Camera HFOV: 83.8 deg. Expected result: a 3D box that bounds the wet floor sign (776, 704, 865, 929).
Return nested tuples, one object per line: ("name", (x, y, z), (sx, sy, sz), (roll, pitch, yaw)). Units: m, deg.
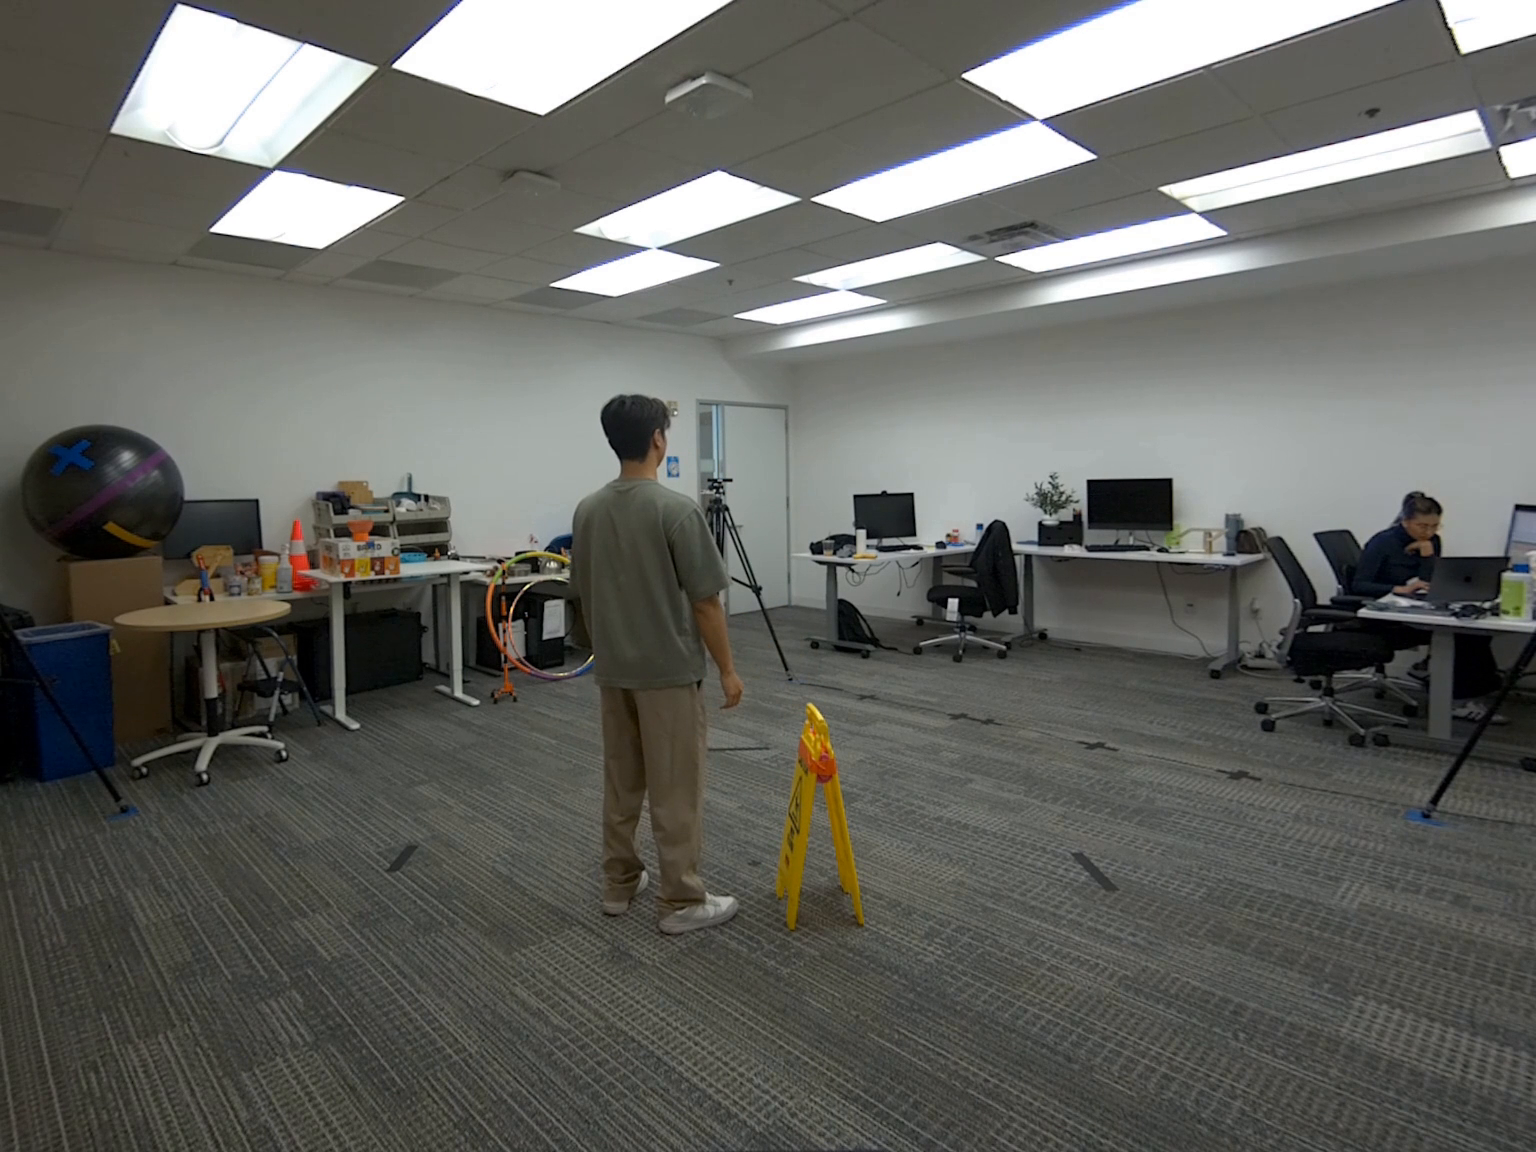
("wet floor sign", (0.162, 0.755, 2.752), (0.288, 0.643, 0.285), (0, 6, -7))
